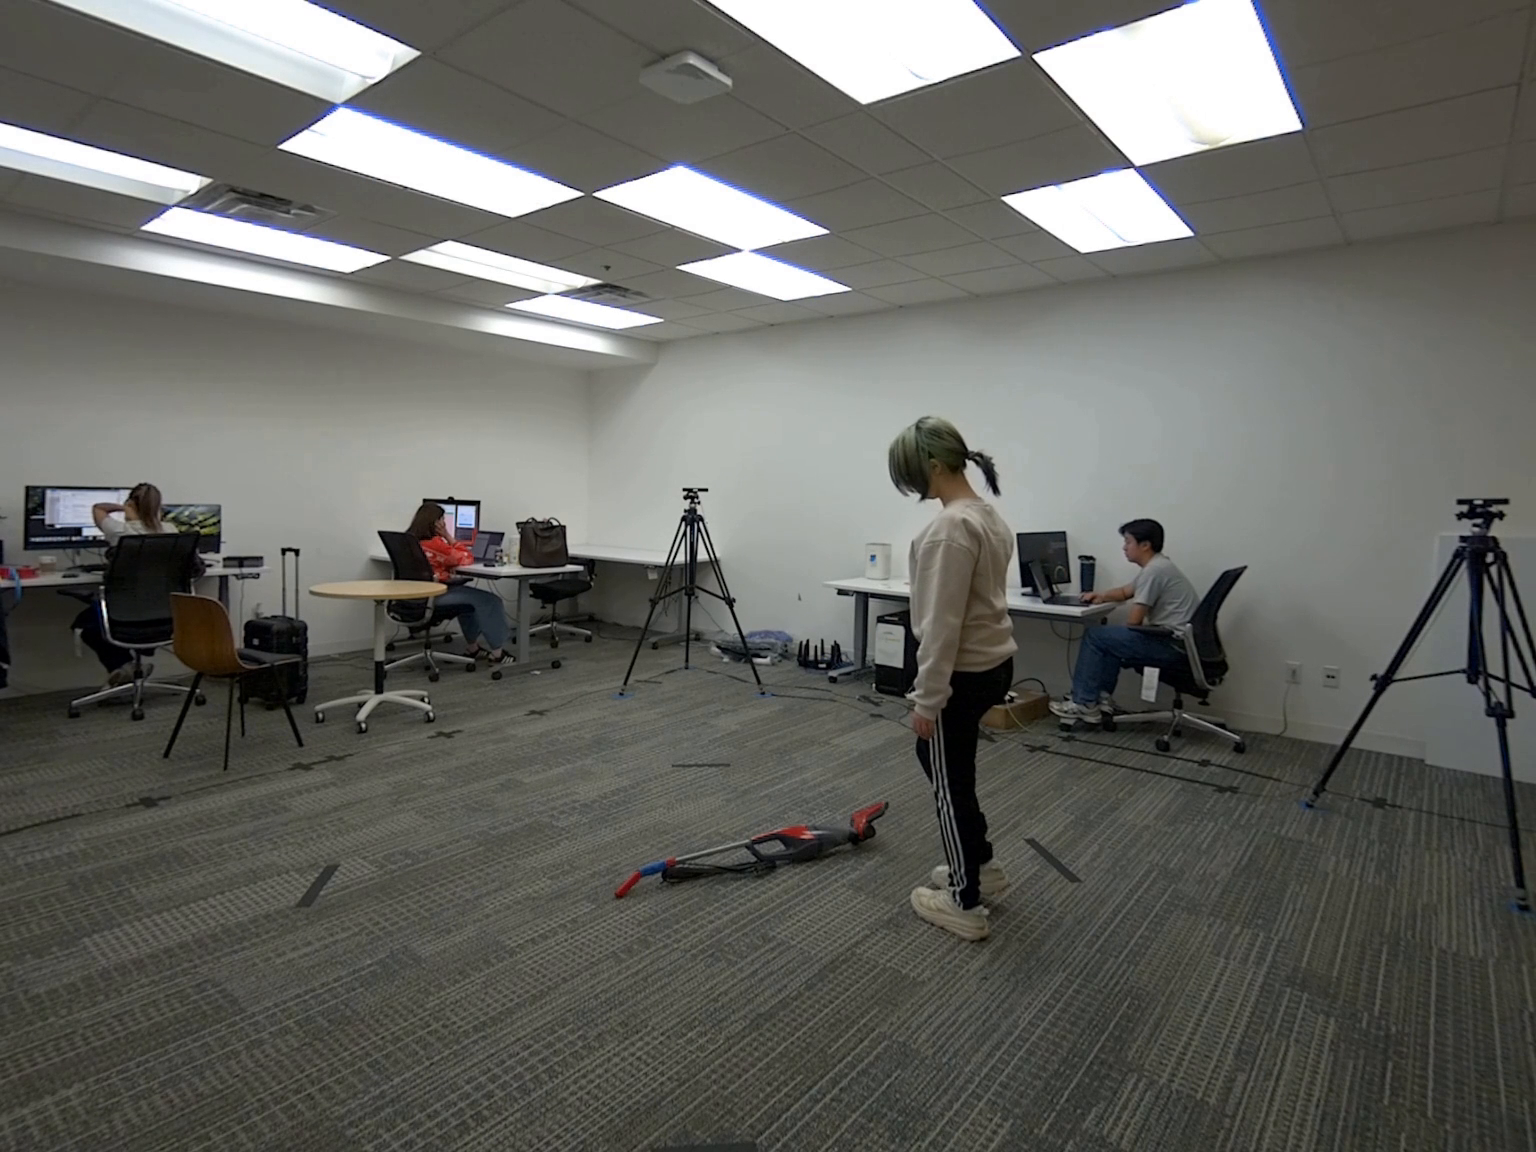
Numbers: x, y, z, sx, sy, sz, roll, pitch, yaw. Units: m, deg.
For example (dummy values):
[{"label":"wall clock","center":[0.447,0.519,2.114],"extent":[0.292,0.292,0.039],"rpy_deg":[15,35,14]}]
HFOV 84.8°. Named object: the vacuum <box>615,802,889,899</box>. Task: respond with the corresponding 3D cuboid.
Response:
[{"label":"vacuum","center":[-0.062,1.022,3.119],"extent":[1.025,0.148,0.251],"rpy_deg":[-7,-25,-28]}]
